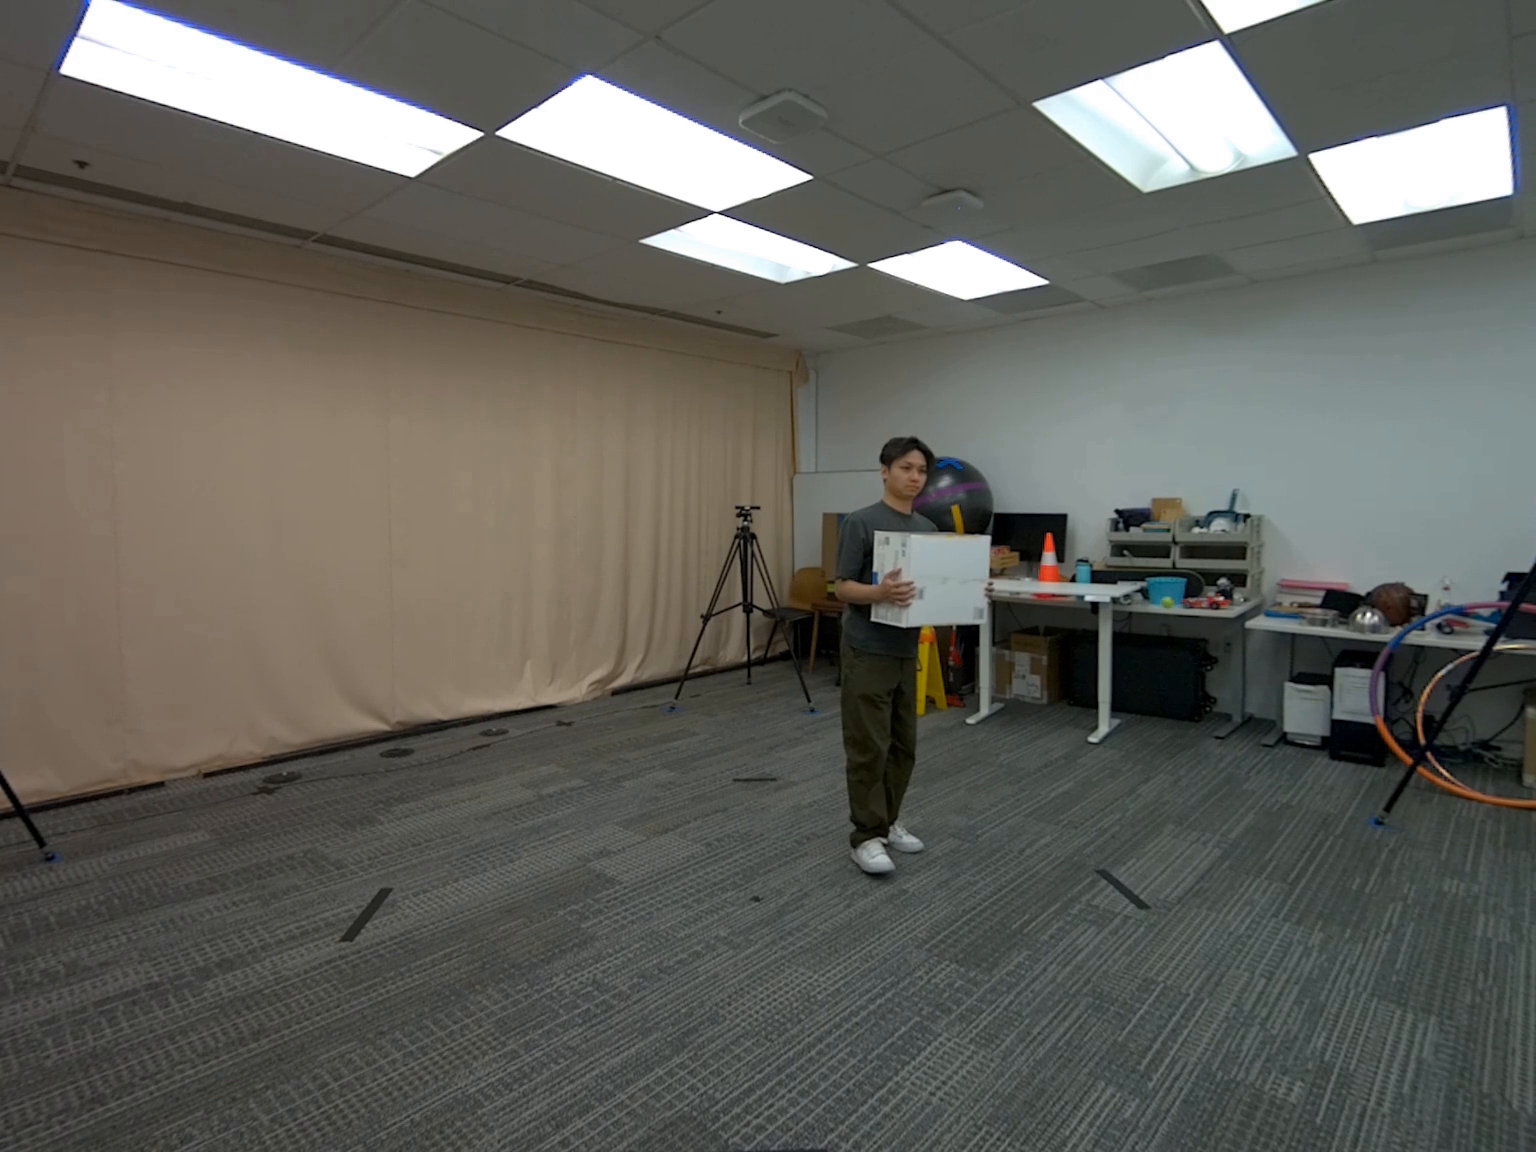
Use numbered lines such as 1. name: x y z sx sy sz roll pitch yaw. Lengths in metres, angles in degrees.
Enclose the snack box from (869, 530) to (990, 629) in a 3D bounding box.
1. snack box: 0.616 0.009 3.193 0.394 0.339 0.212 -1 5 -30
